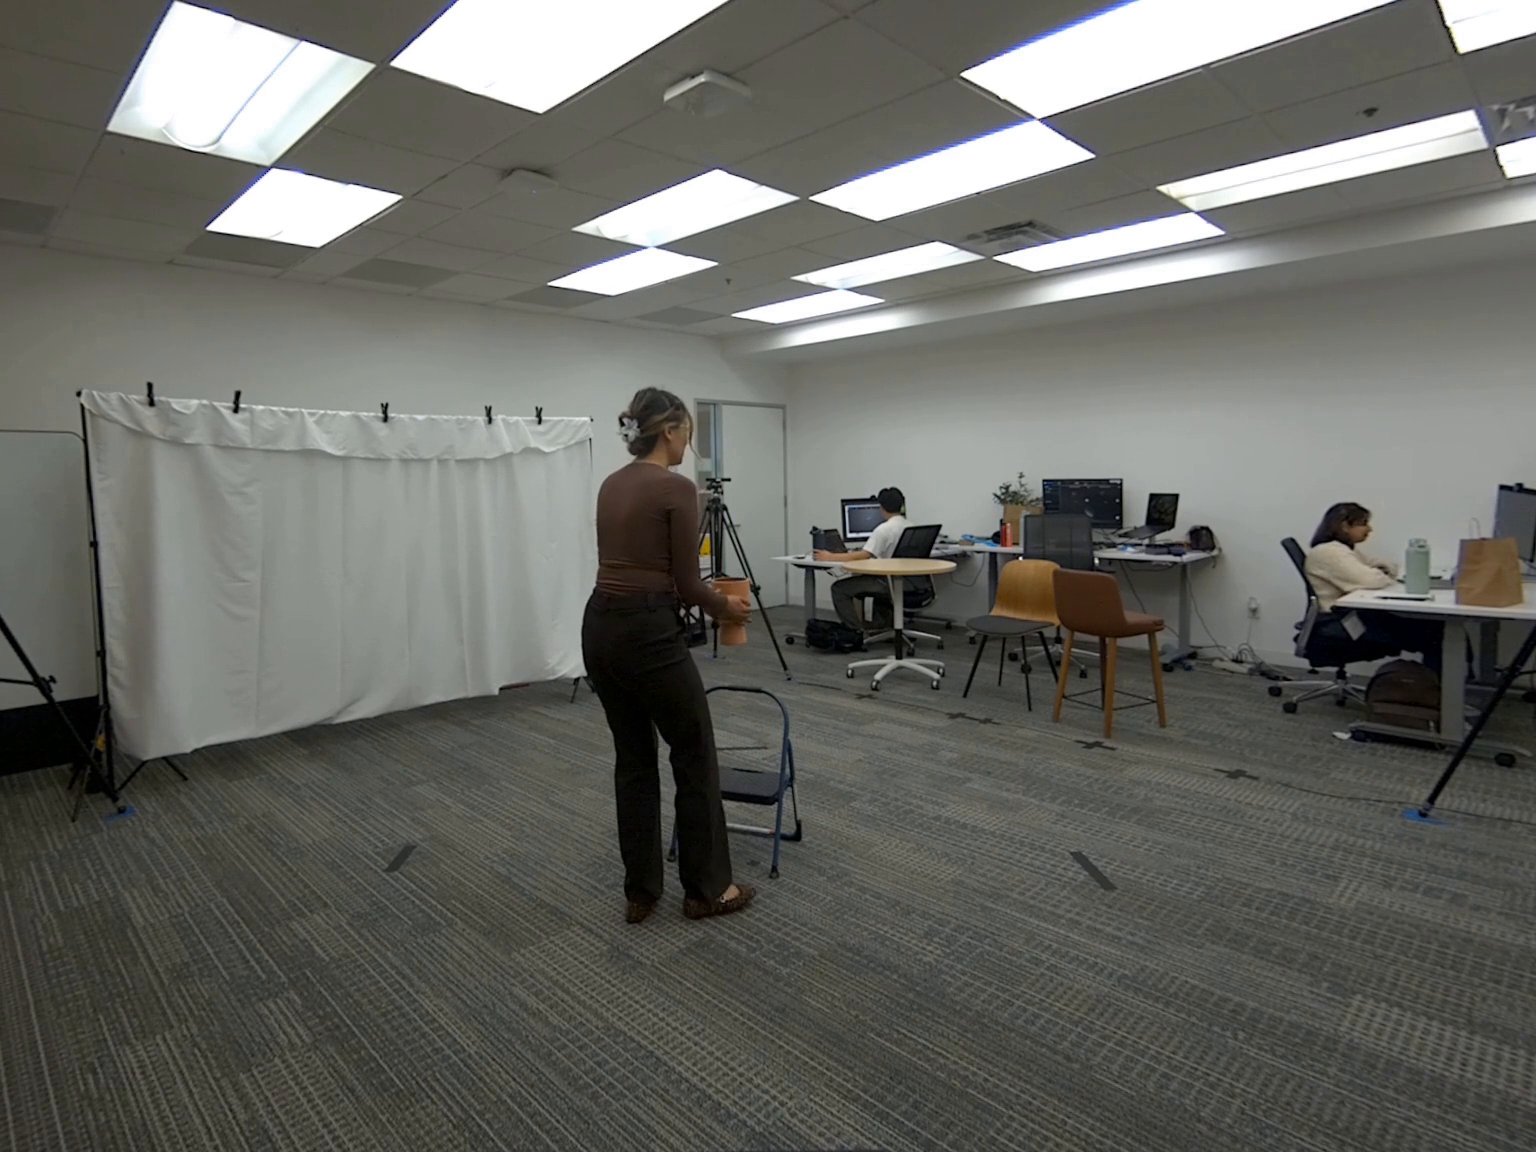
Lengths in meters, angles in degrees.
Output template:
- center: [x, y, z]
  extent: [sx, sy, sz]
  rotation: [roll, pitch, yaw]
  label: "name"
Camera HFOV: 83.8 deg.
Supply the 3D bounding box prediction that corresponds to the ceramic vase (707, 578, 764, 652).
- center: [-0.115, 0.128, 2.954]
  extent: [0.156, 0.218, 0.137]
  rotation: [-3, 6, -16]
  label: "ceramic vase"
